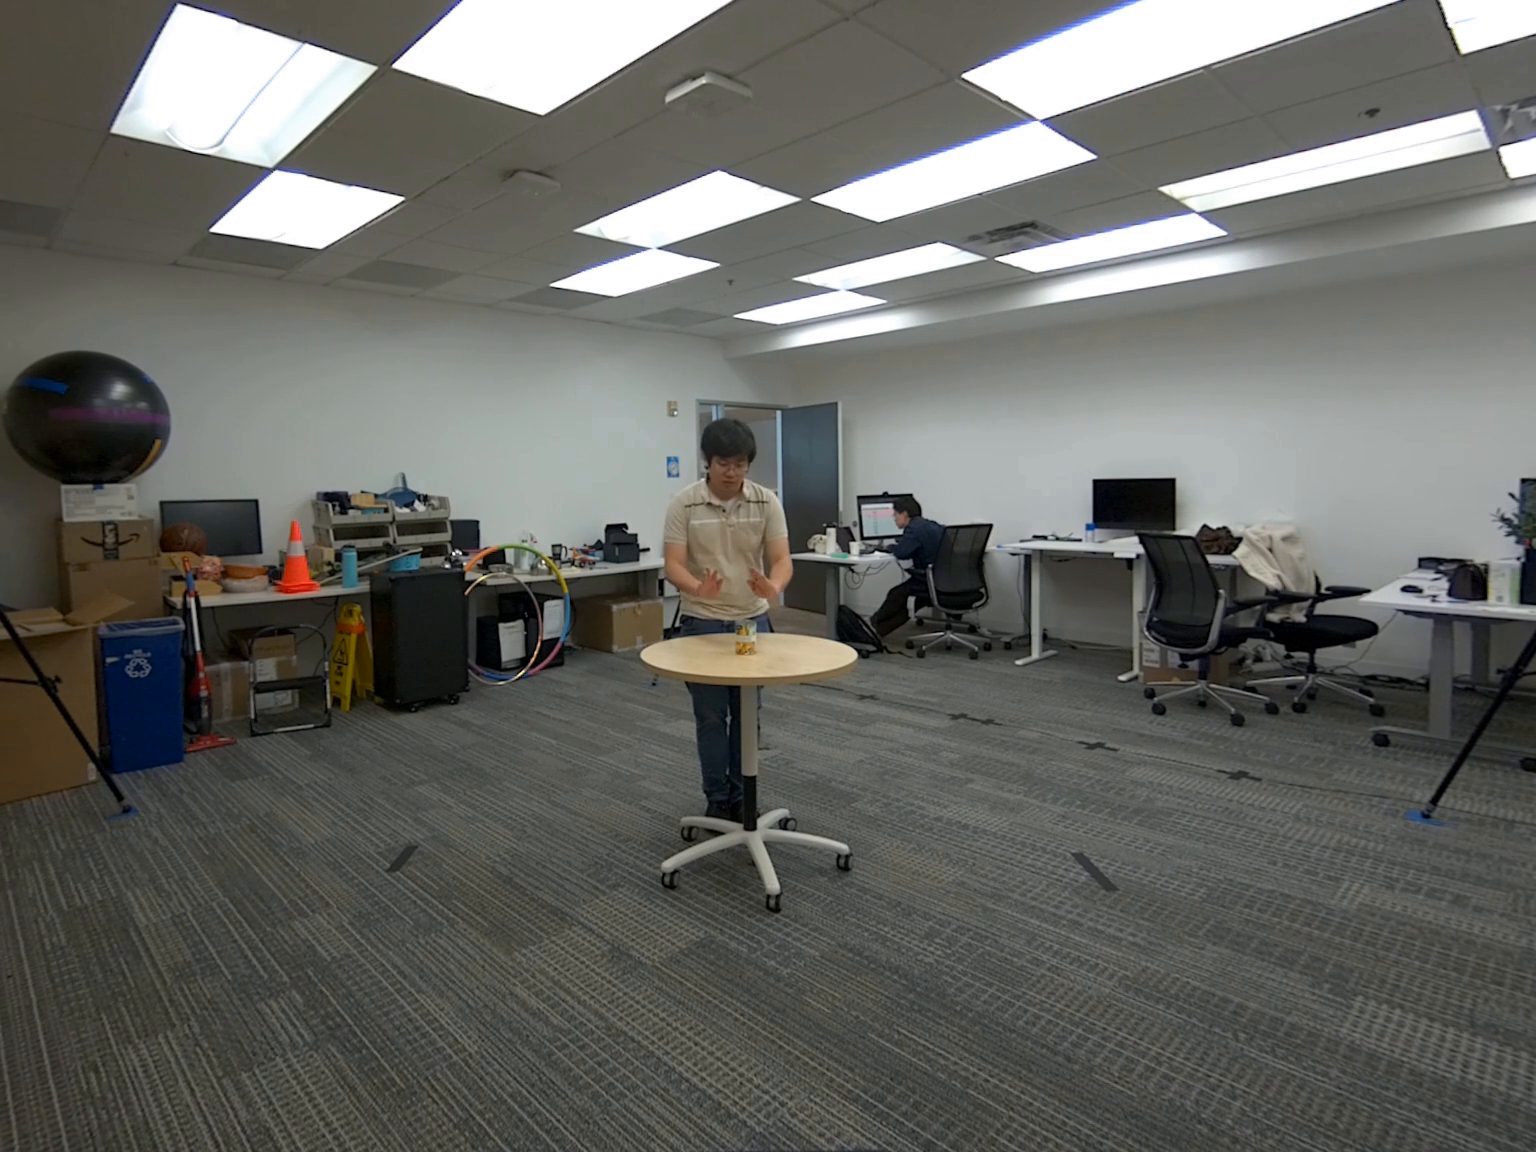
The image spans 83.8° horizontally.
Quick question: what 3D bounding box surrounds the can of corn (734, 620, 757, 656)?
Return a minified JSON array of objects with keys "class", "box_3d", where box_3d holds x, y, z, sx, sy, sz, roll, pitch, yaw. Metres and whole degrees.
[{"class":"can of corn","box_3d":[-0.076,0.221,3.009,0.074,0.110,0.074,1,5,-2]}]
